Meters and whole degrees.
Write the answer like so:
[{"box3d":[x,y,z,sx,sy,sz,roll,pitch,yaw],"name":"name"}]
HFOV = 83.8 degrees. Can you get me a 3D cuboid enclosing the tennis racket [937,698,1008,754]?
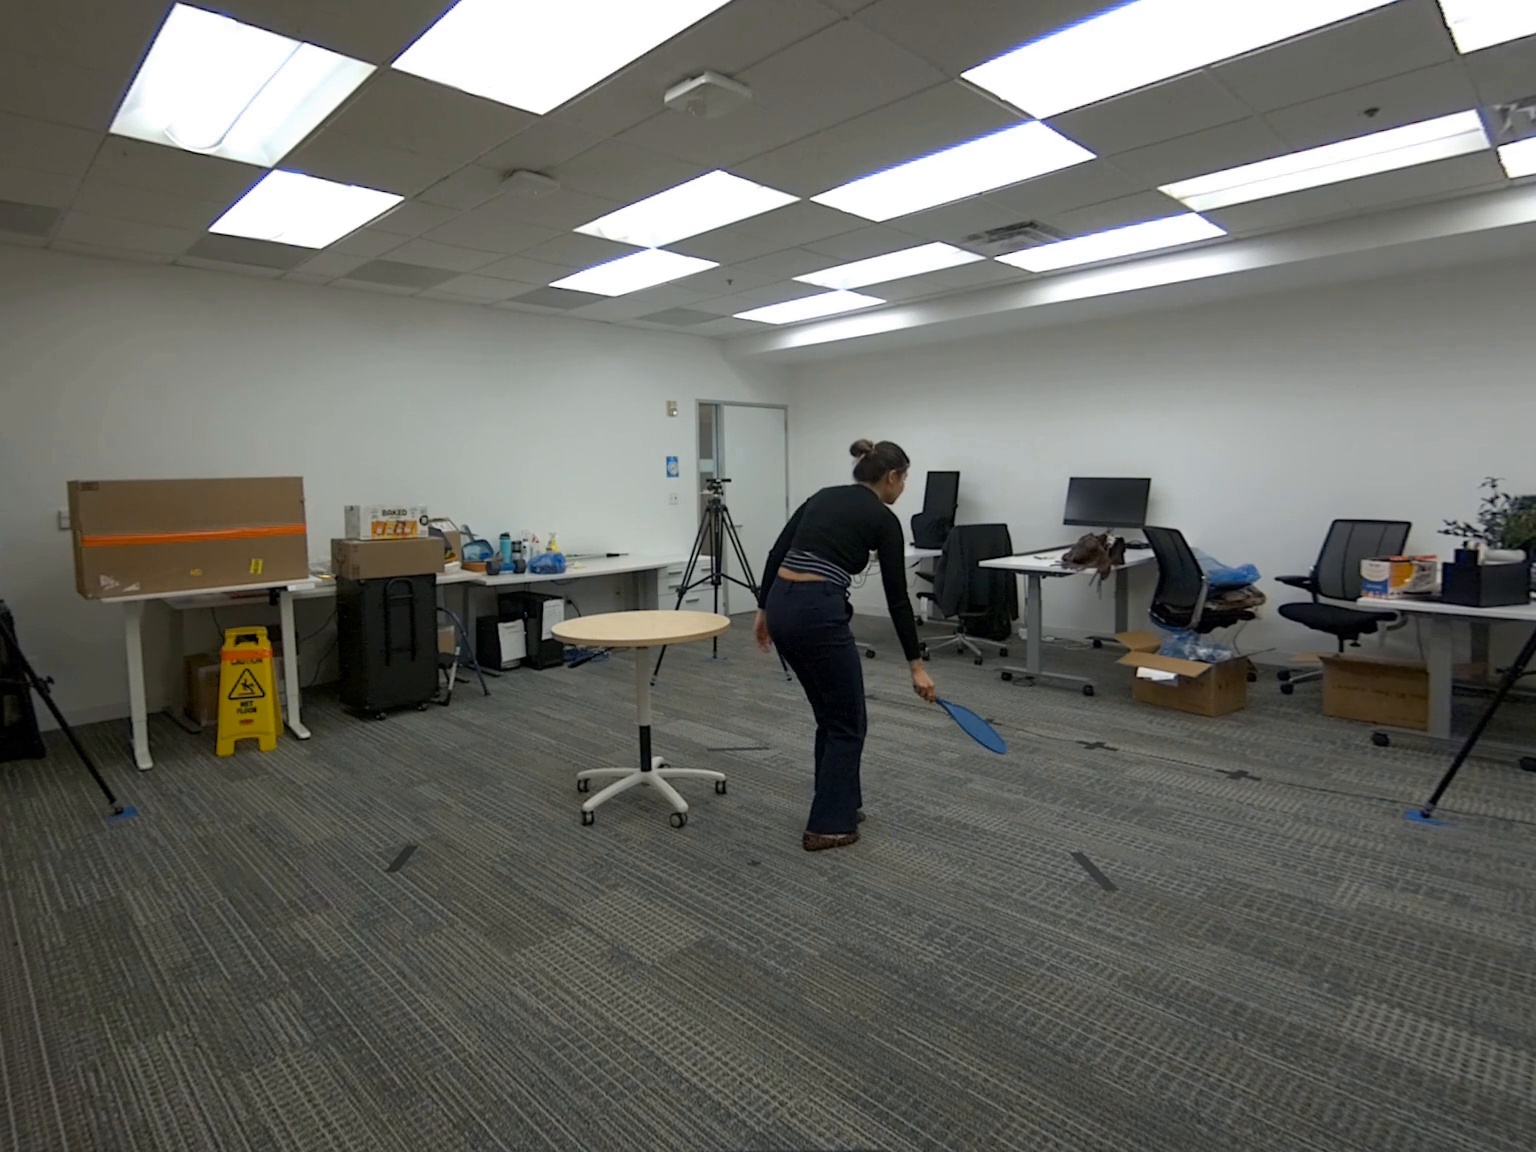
[{"box3d":[0.725,0.532,3.274,0.429,0.031,0.216,34,20,-7],"name":"tennis racket"}]
